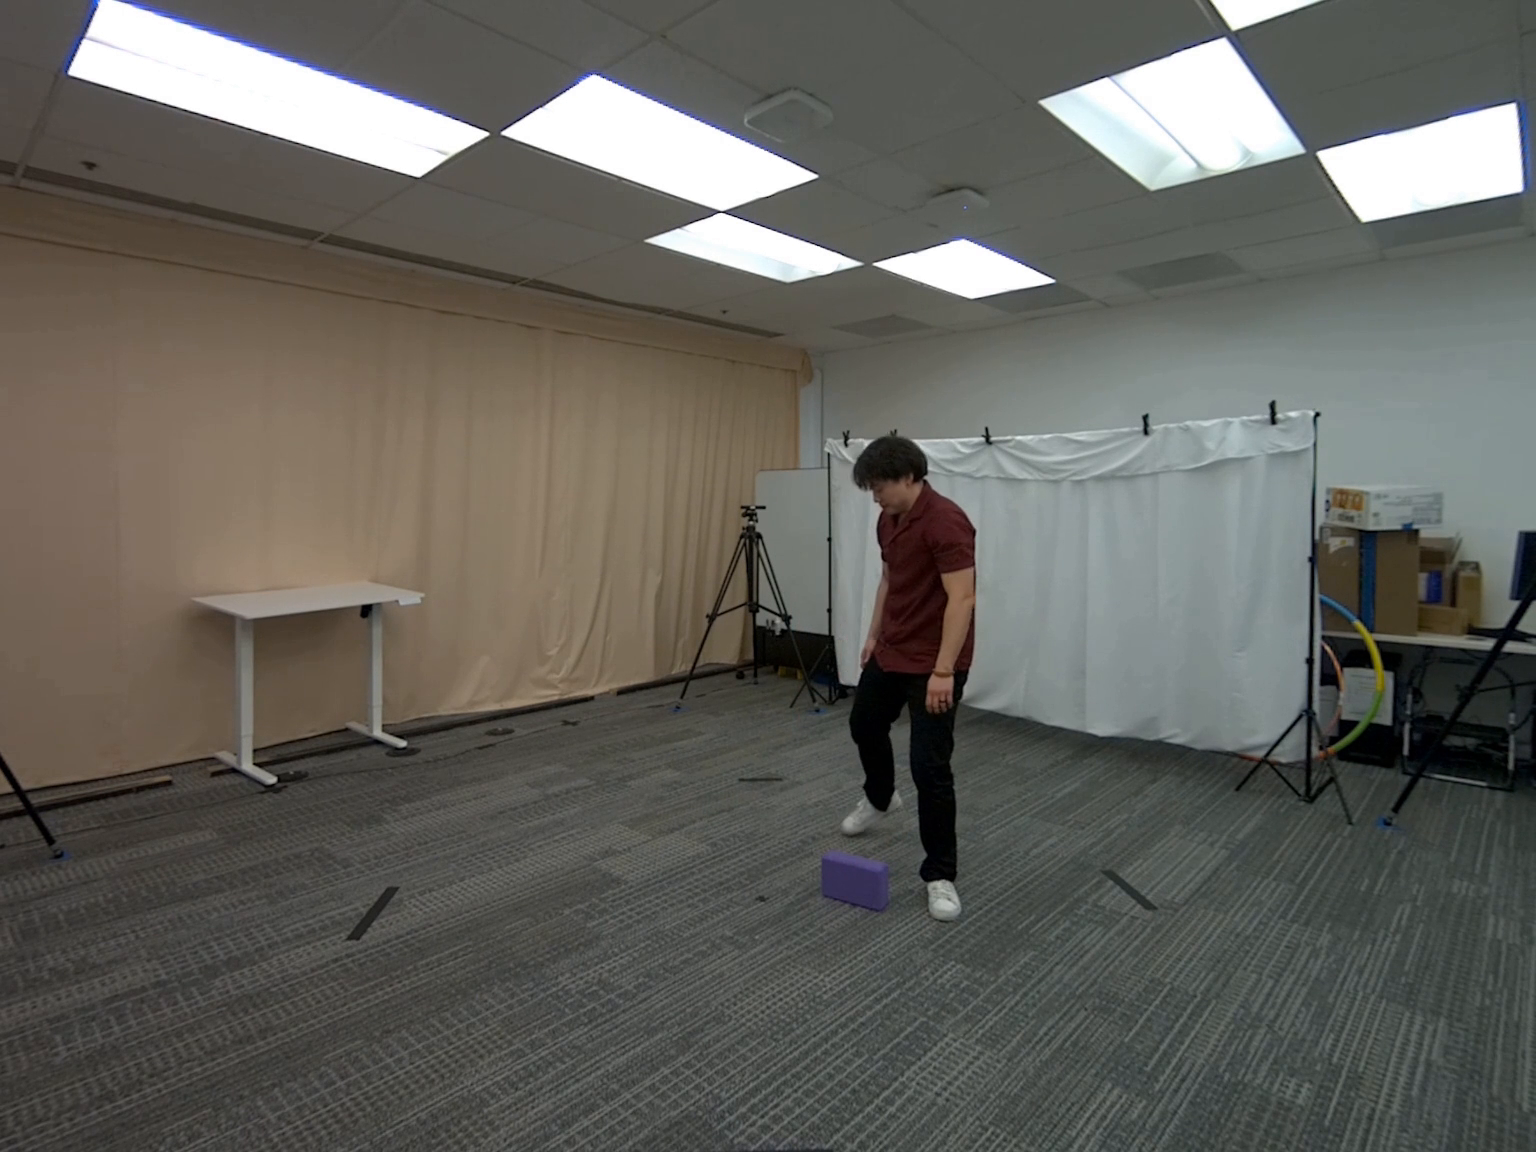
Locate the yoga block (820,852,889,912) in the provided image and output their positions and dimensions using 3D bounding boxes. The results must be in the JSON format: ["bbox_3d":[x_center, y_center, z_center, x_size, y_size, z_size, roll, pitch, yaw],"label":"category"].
[{"bbox_3d":[0.310,1.072,2.966,0.236,0.148,0.074,3,5,33],"label":"yoga block"}]
